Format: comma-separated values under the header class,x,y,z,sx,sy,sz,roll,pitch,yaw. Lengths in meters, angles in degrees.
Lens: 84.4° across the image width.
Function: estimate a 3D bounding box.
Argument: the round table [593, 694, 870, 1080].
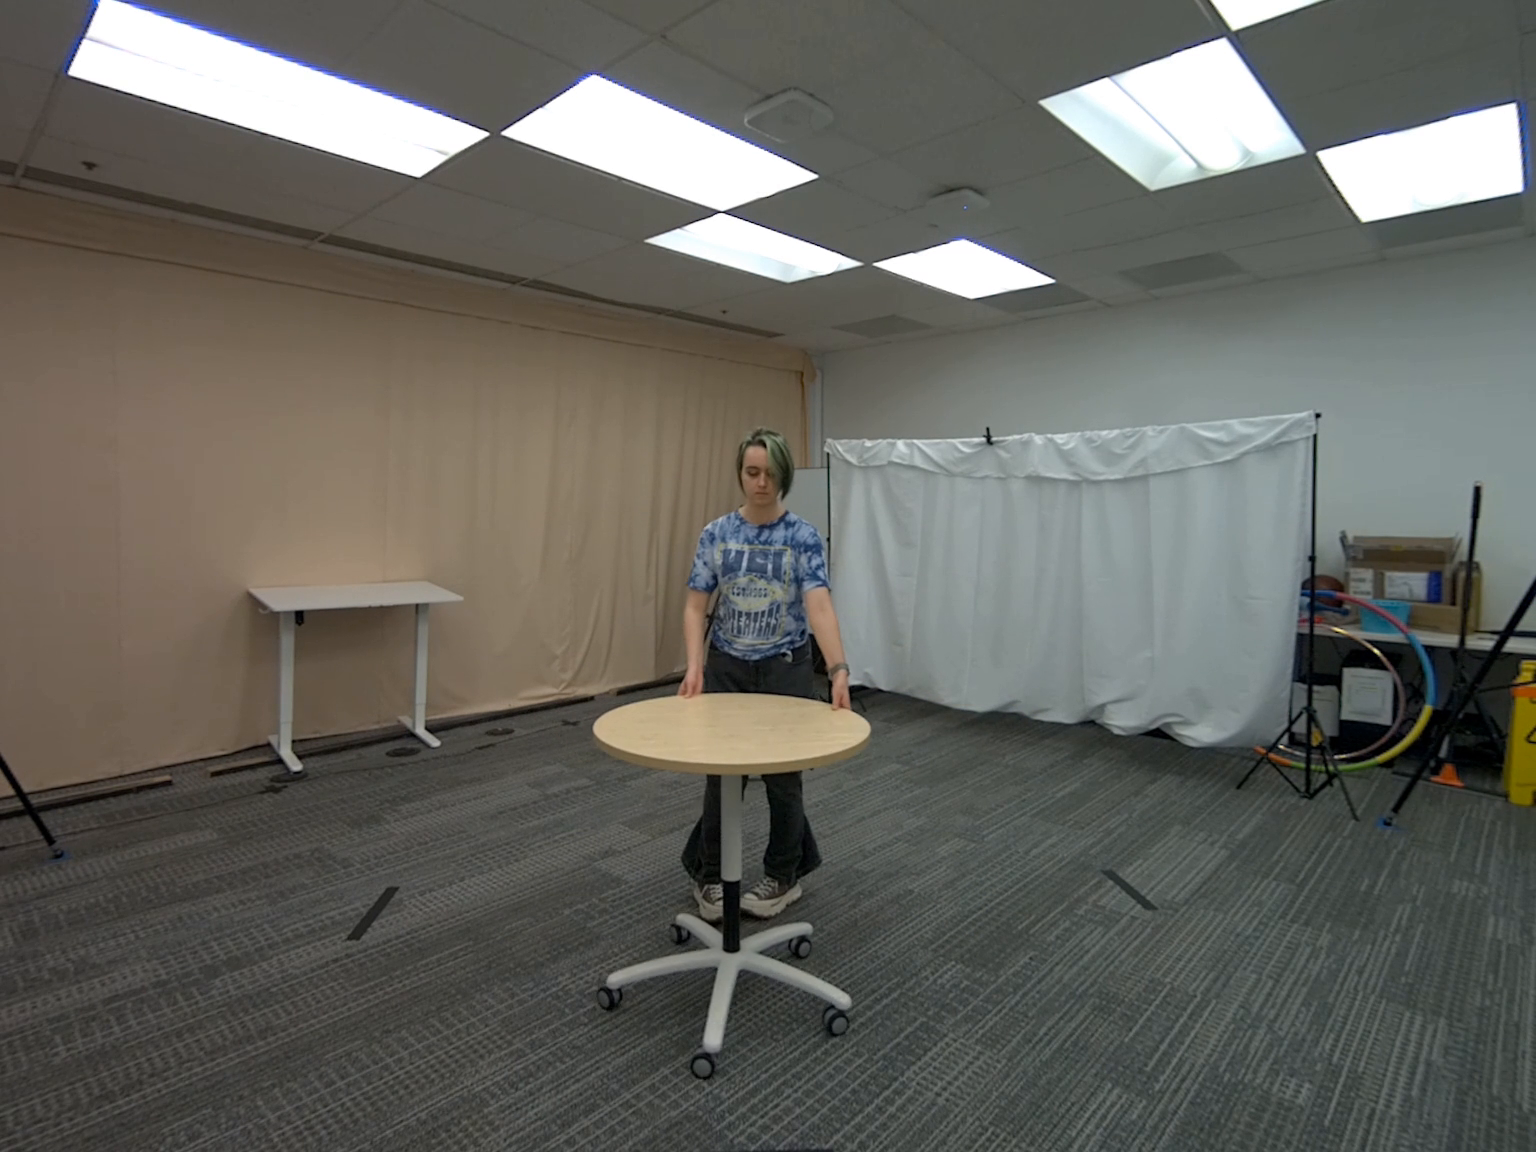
class,x,y,z,sx,sy,sz,roll,pitch,yaw
round table,-0.102,0.804,2.374,0.763,0.792,0.767,0,4,-2
